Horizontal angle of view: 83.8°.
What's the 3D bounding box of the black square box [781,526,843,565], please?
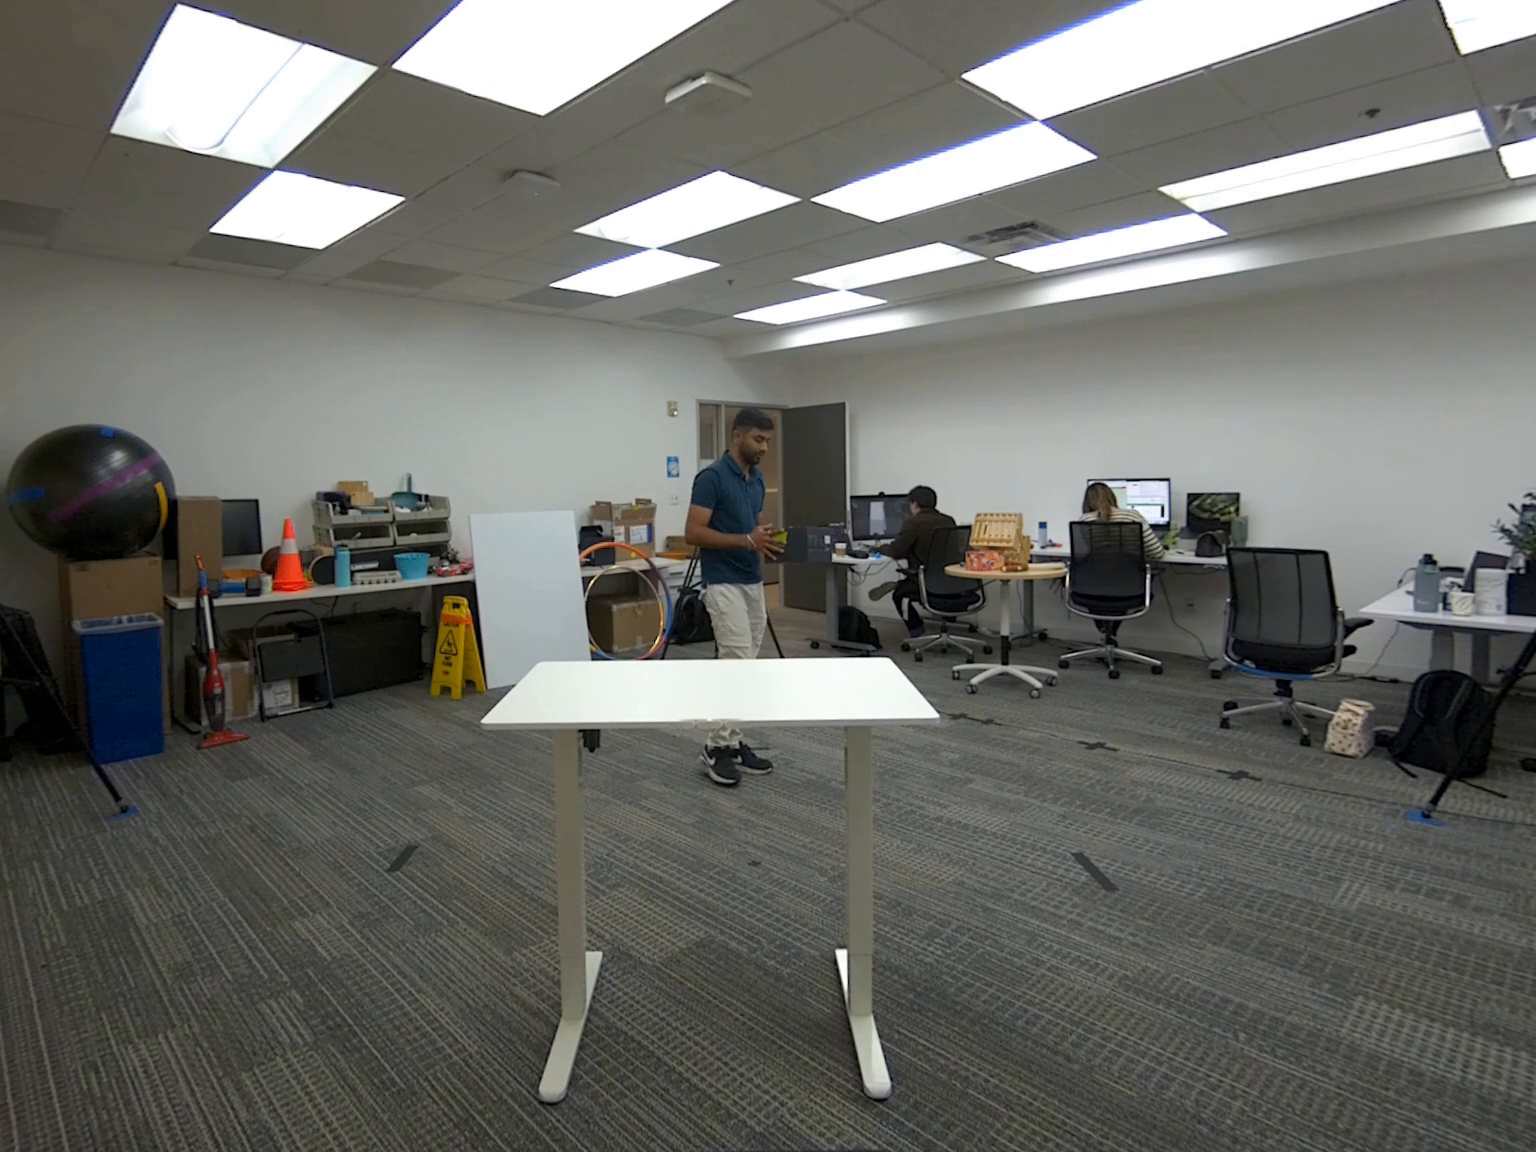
[{"bbox_3d":[0.139,-0.135,3.847,0.234,0.156,0.211,-2,0,39],"label":"black square box"}]
